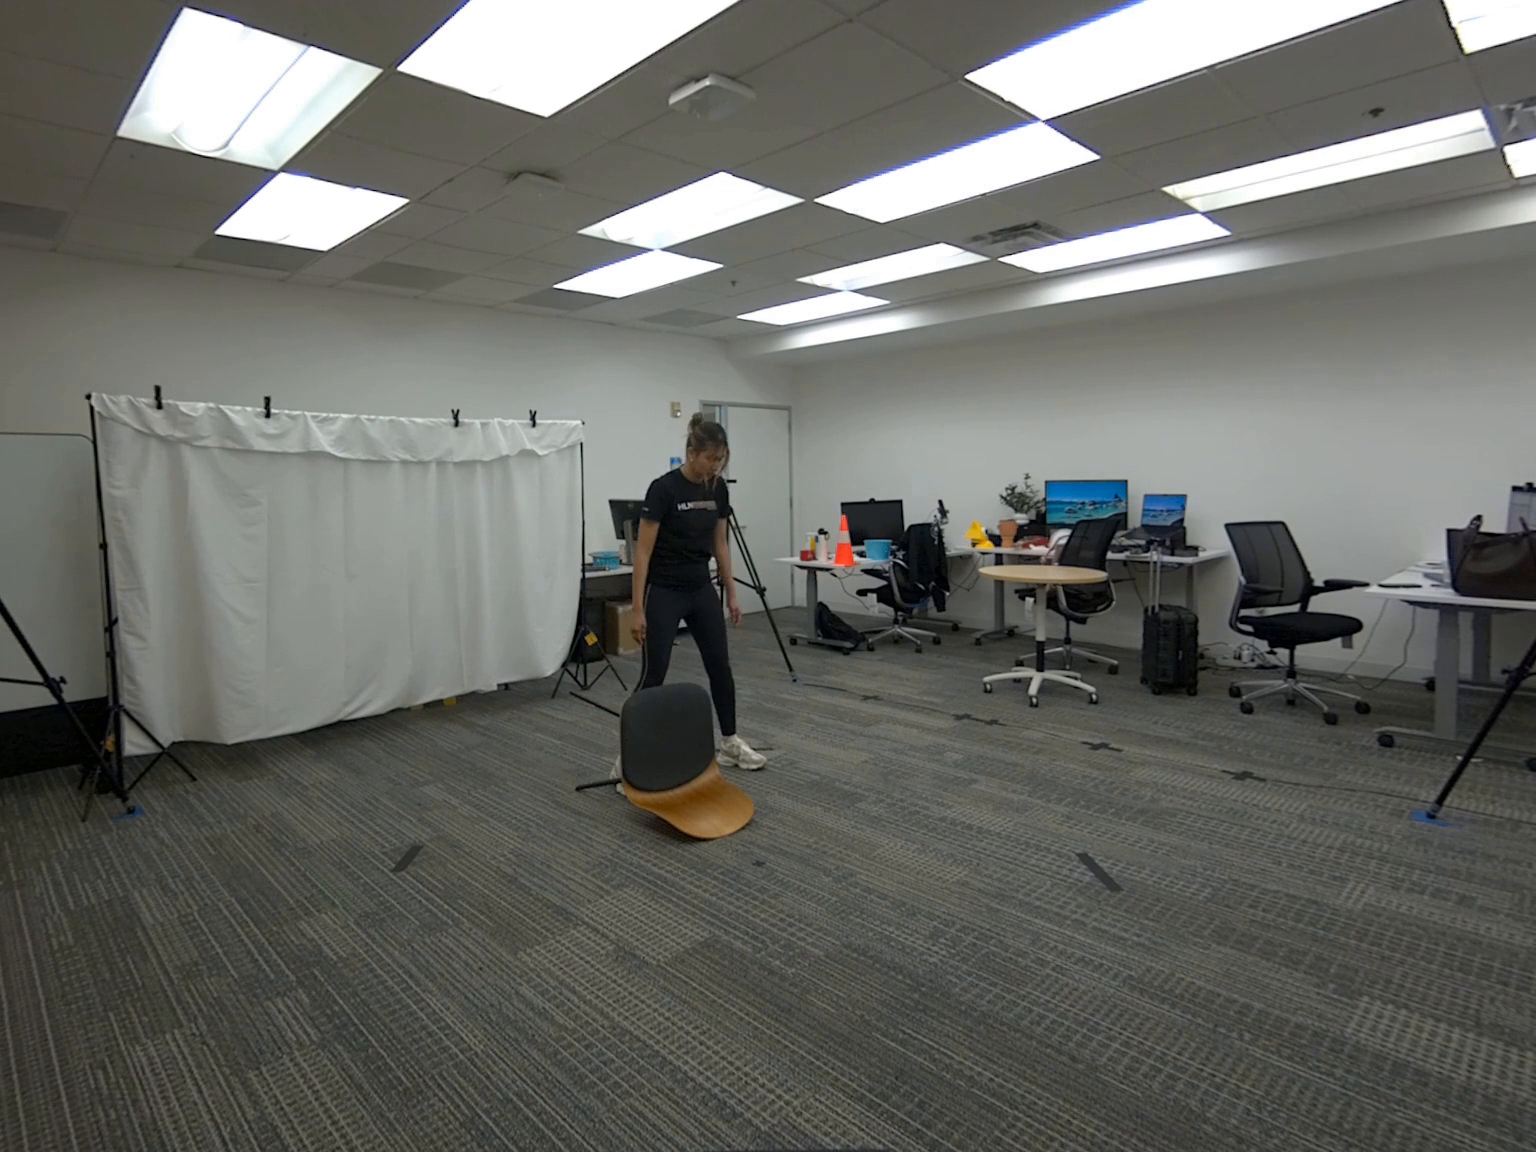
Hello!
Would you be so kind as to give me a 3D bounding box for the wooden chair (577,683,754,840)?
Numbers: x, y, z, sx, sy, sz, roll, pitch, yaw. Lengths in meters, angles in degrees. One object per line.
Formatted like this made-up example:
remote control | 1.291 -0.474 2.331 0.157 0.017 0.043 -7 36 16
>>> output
wooden chair | -0.449 0.733 3.677 0.466 0.521 0.905 -5 8 -38
